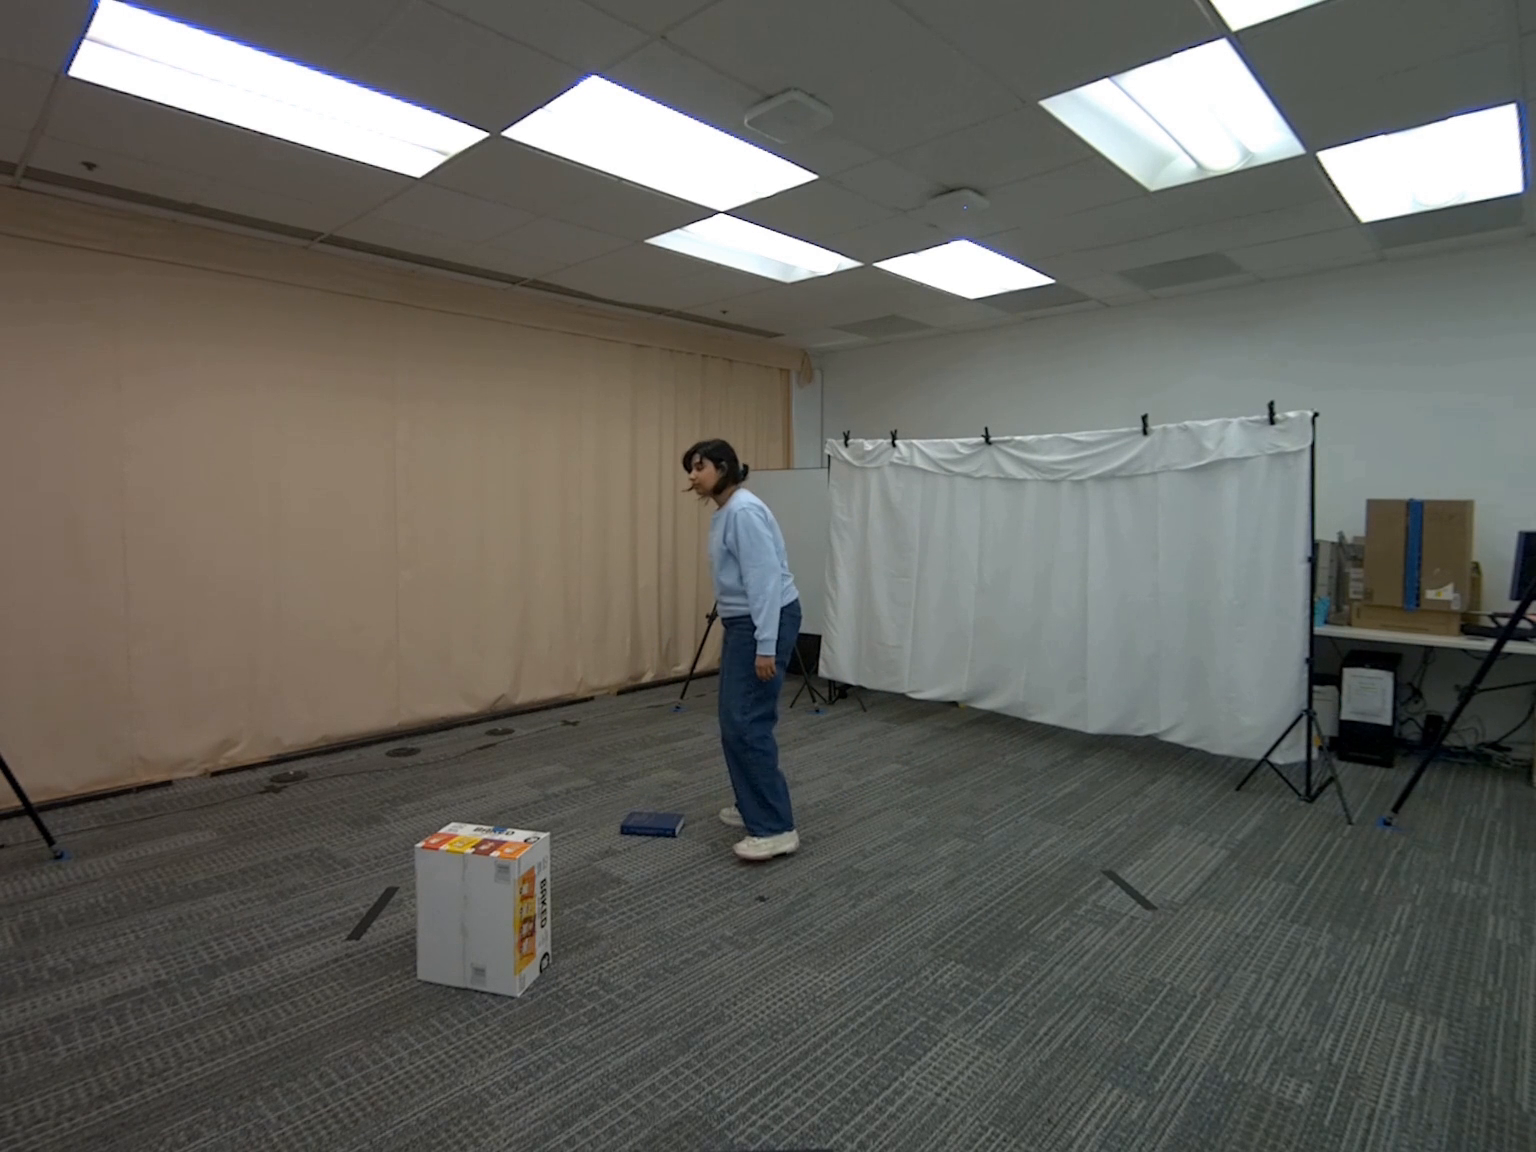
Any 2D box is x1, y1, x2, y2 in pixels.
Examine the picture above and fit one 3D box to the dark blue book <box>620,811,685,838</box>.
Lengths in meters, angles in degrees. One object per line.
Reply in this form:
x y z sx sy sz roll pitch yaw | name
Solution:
-0.499 1.070 3.635 0.248 0.045 0.162 0 5 10 | dark blue book
